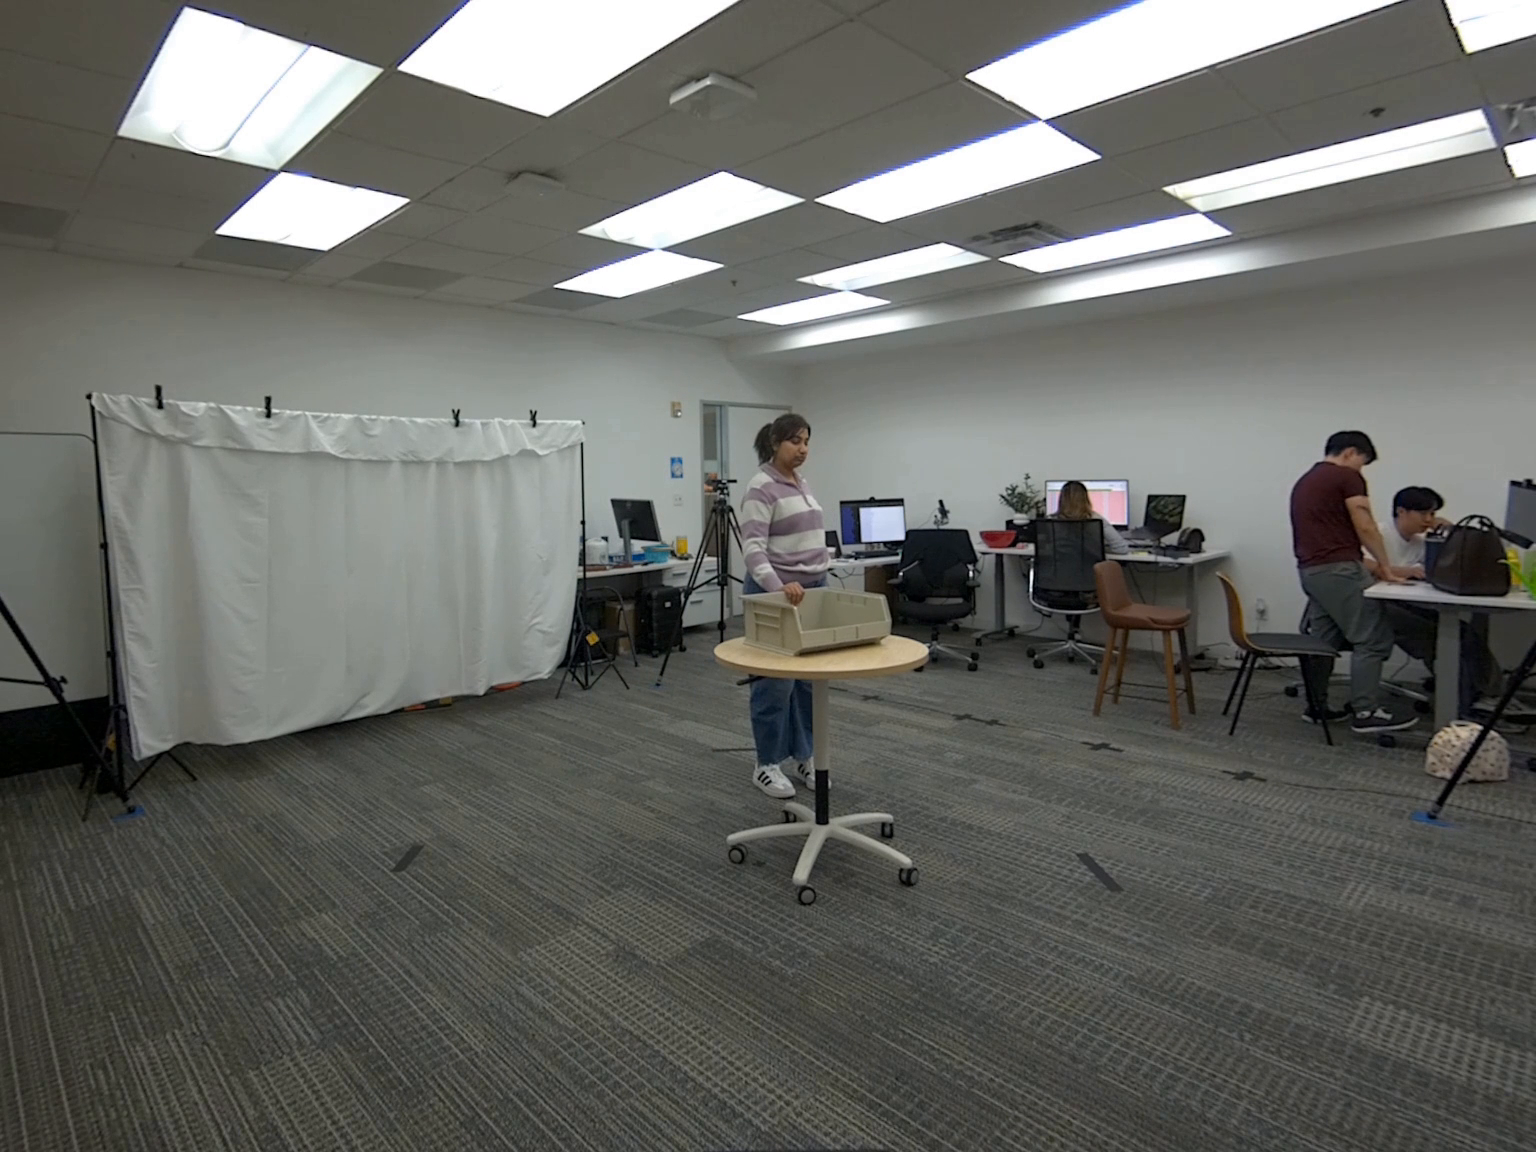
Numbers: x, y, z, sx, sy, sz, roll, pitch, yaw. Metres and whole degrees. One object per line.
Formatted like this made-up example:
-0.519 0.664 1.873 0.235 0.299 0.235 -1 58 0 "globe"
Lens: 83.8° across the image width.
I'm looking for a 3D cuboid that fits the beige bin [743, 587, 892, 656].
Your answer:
0.171 0.169 3.163 0.412 0.188 0.388 -5 6 -33 "beige bin"
